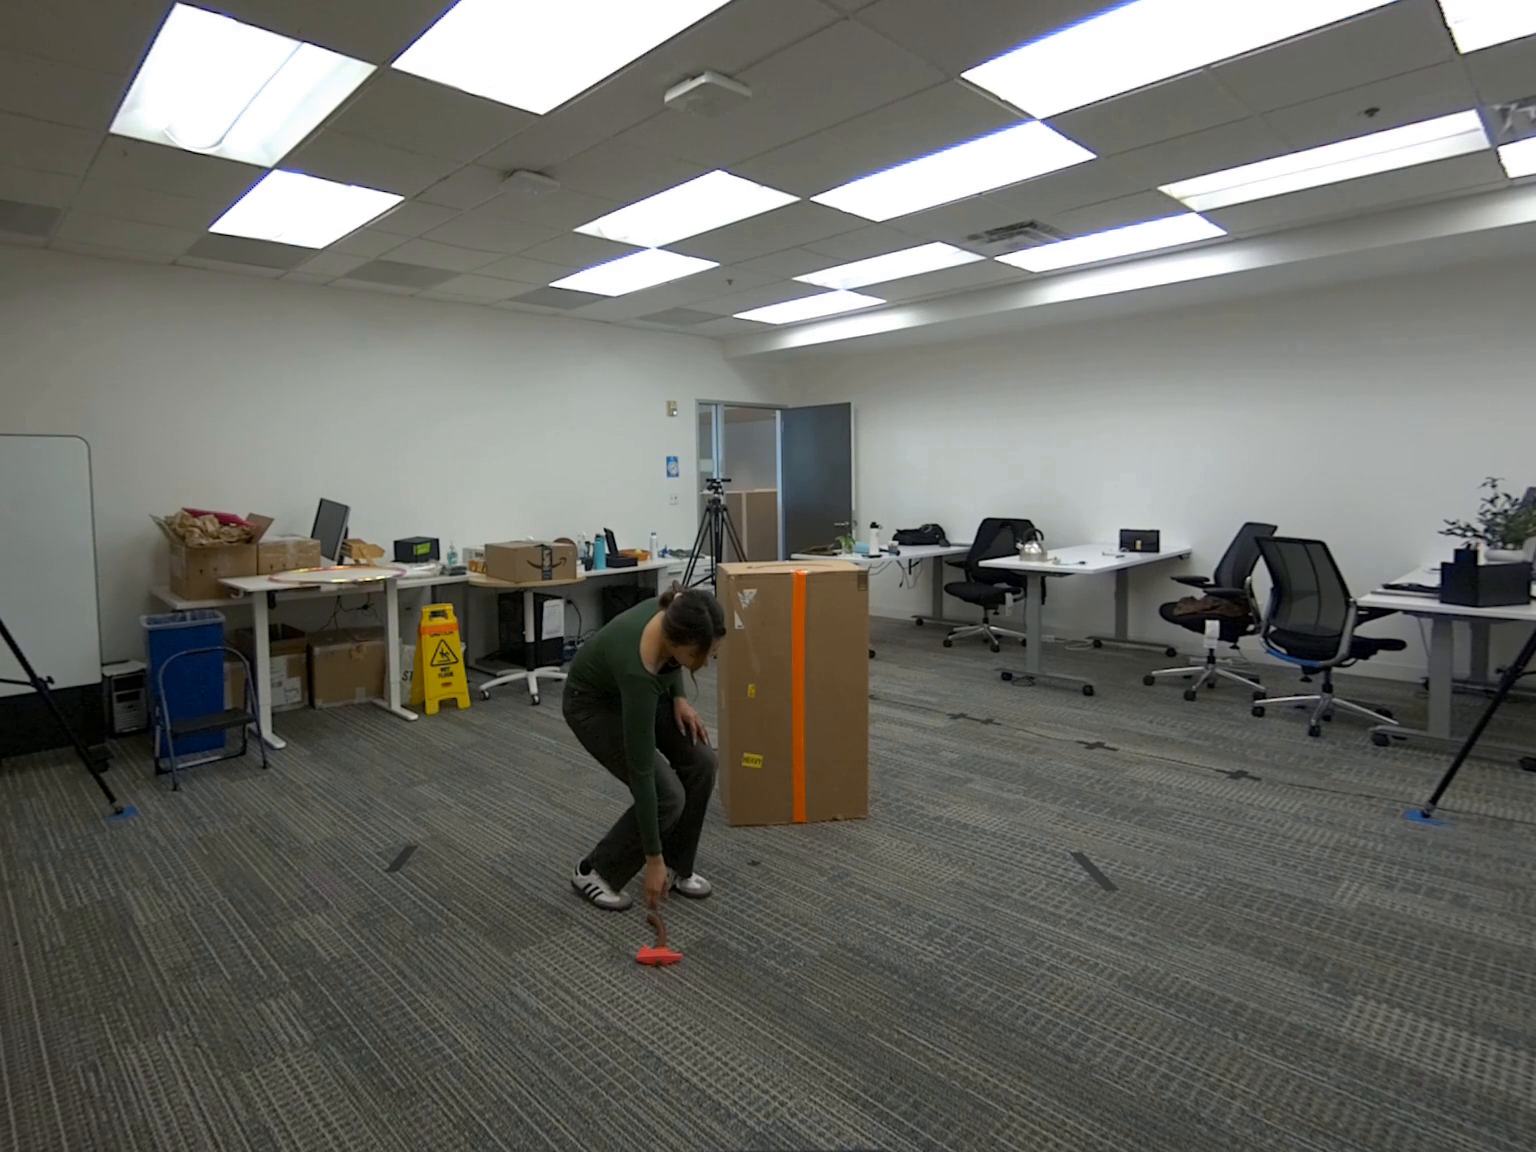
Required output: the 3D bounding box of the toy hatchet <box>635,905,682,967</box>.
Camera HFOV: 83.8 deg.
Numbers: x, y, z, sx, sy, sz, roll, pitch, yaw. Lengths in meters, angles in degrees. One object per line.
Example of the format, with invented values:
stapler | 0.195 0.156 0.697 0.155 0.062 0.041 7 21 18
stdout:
toy hatchet | -0.354 1.106 2.580 0.129 0.029 0.276 -5 7 -21
